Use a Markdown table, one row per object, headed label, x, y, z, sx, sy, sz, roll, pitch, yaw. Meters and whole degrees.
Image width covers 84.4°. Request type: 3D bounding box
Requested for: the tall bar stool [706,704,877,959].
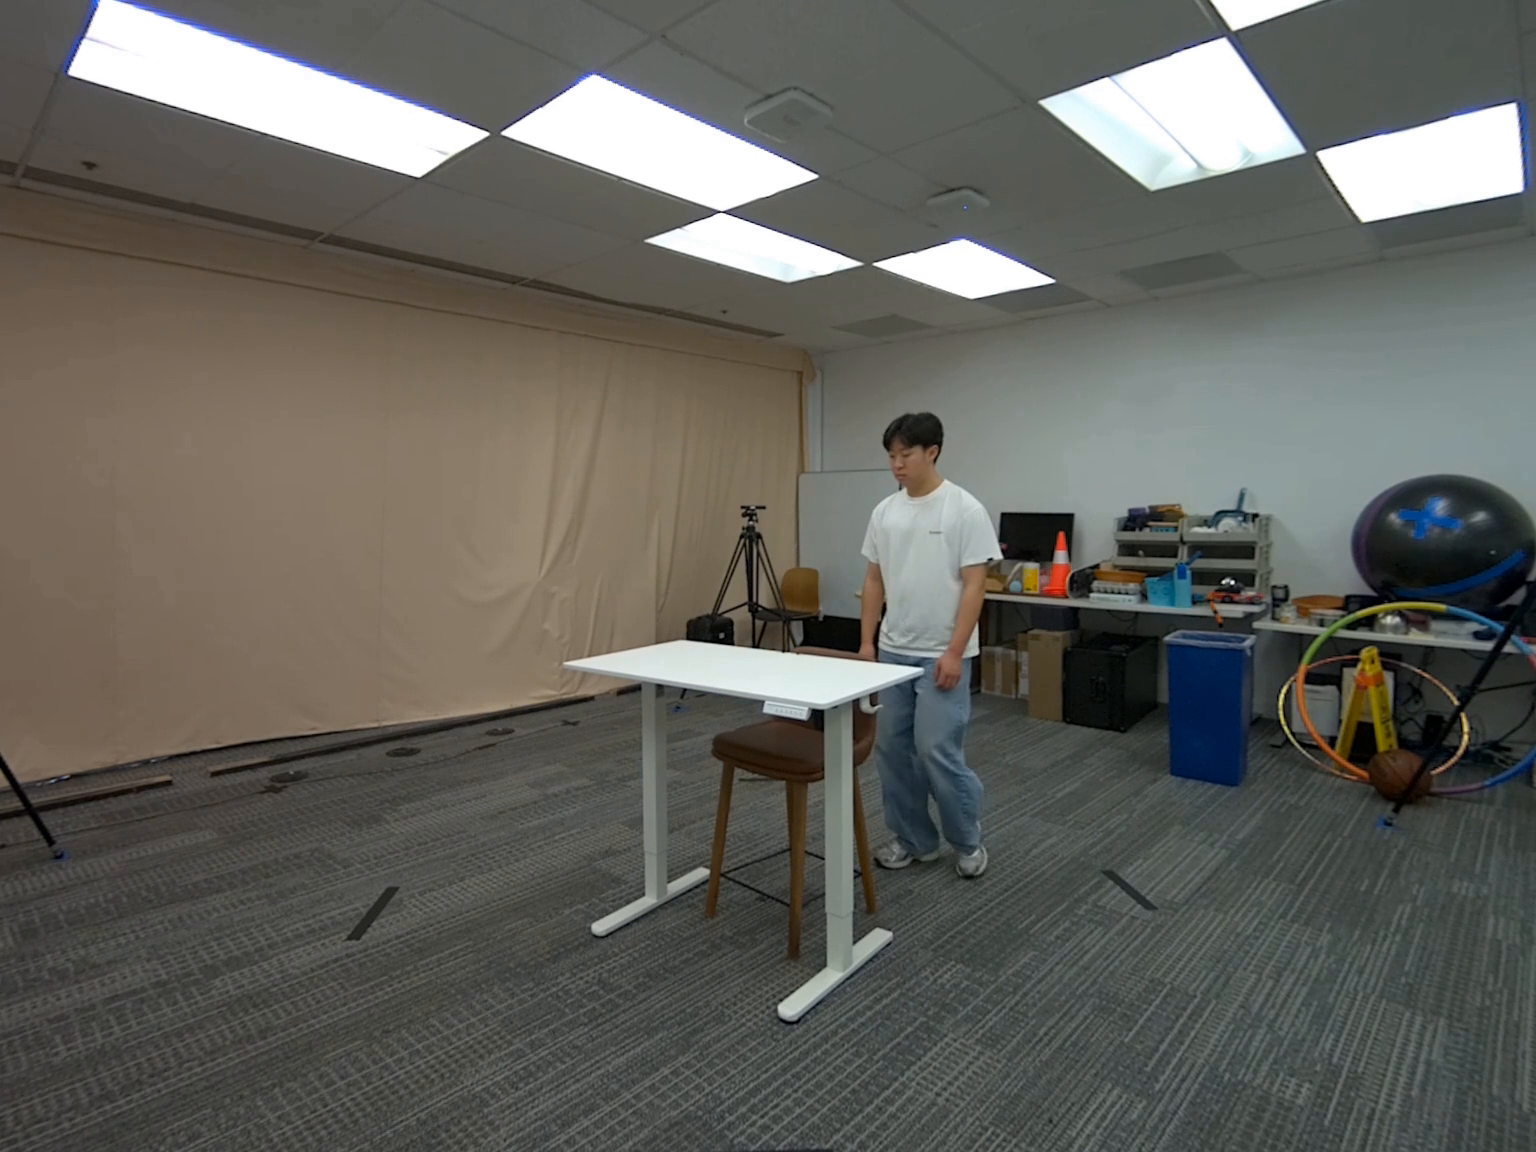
| label | x | y | z | sx | sy | sz | roll | pitch | yaw |
| --- | --- | --- | --- | --- | --- | --- | --- | --- | --- |
| tall bar stool | 0.108 | 0.716 | 2.852 | 0.453 | 0.889 | 0.472 | 0 | 2 | -44 |
